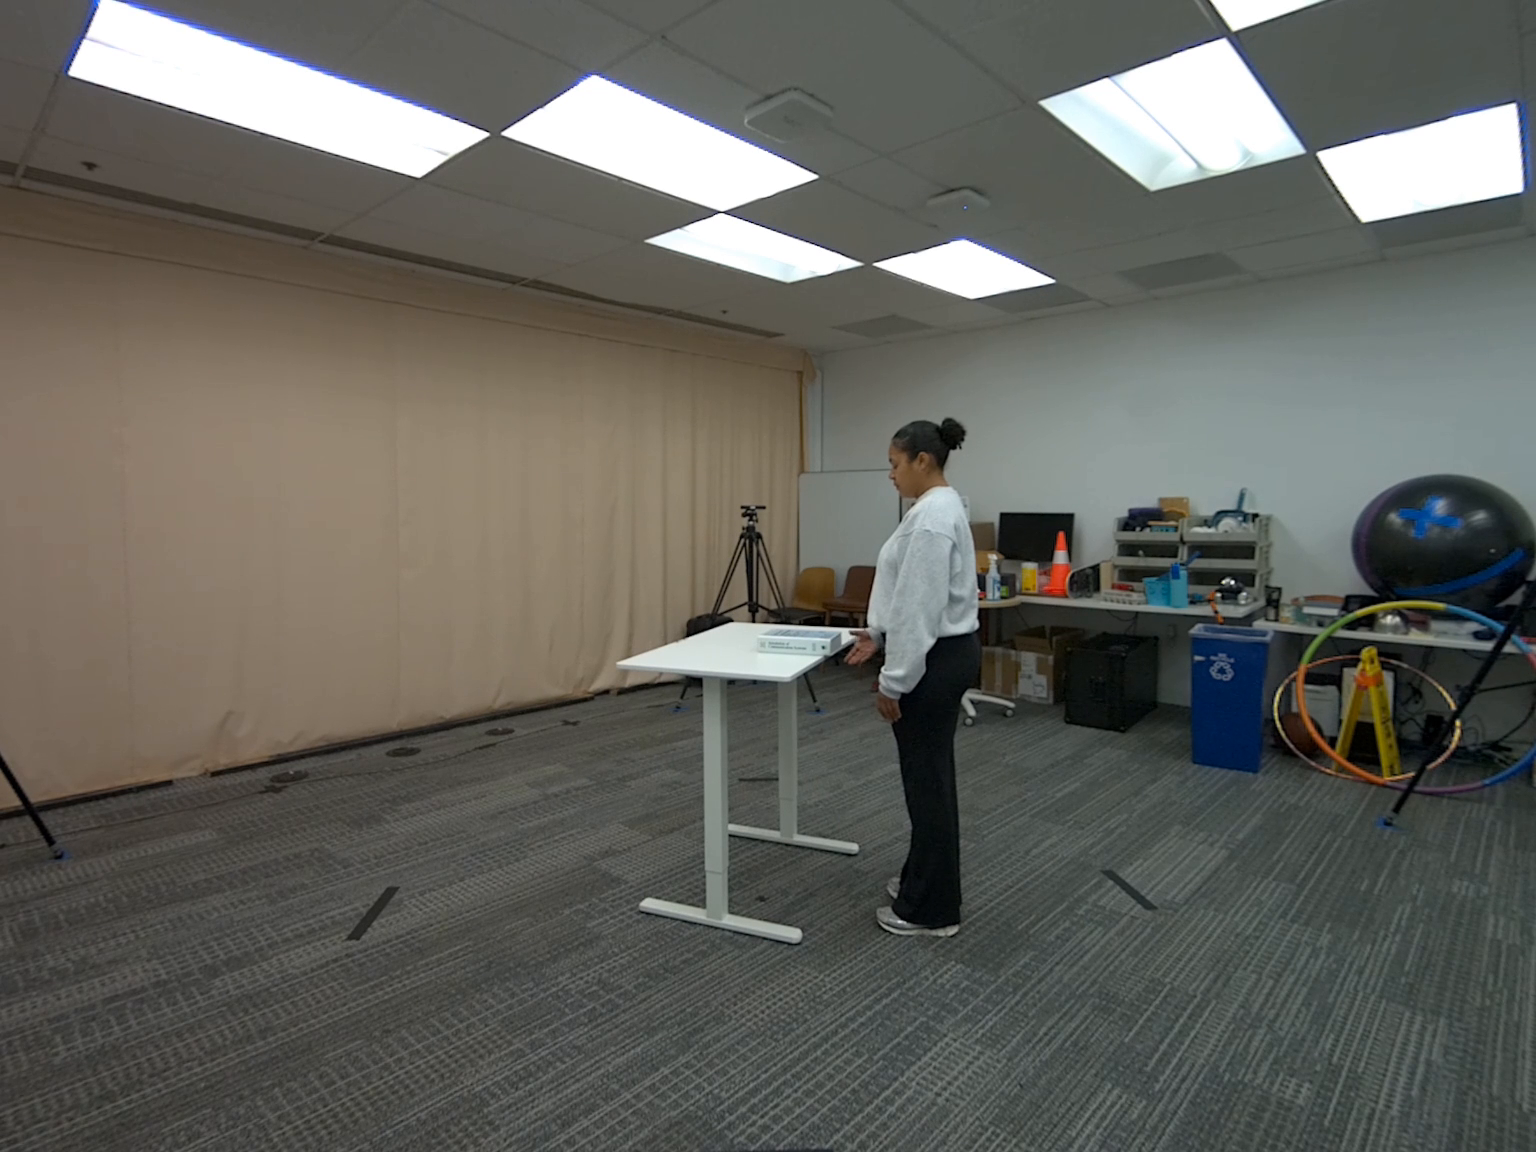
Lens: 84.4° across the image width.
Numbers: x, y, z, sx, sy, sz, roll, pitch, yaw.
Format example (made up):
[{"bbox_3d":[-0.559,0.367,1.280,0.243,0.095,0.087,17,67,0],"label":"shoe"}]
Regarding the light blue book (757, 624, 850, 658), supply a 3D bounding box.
[{"bbox_3d":[0.113,0.231,2.990,0.266,0.059,0.188,1,6,19],"label":"light blue book"}]
